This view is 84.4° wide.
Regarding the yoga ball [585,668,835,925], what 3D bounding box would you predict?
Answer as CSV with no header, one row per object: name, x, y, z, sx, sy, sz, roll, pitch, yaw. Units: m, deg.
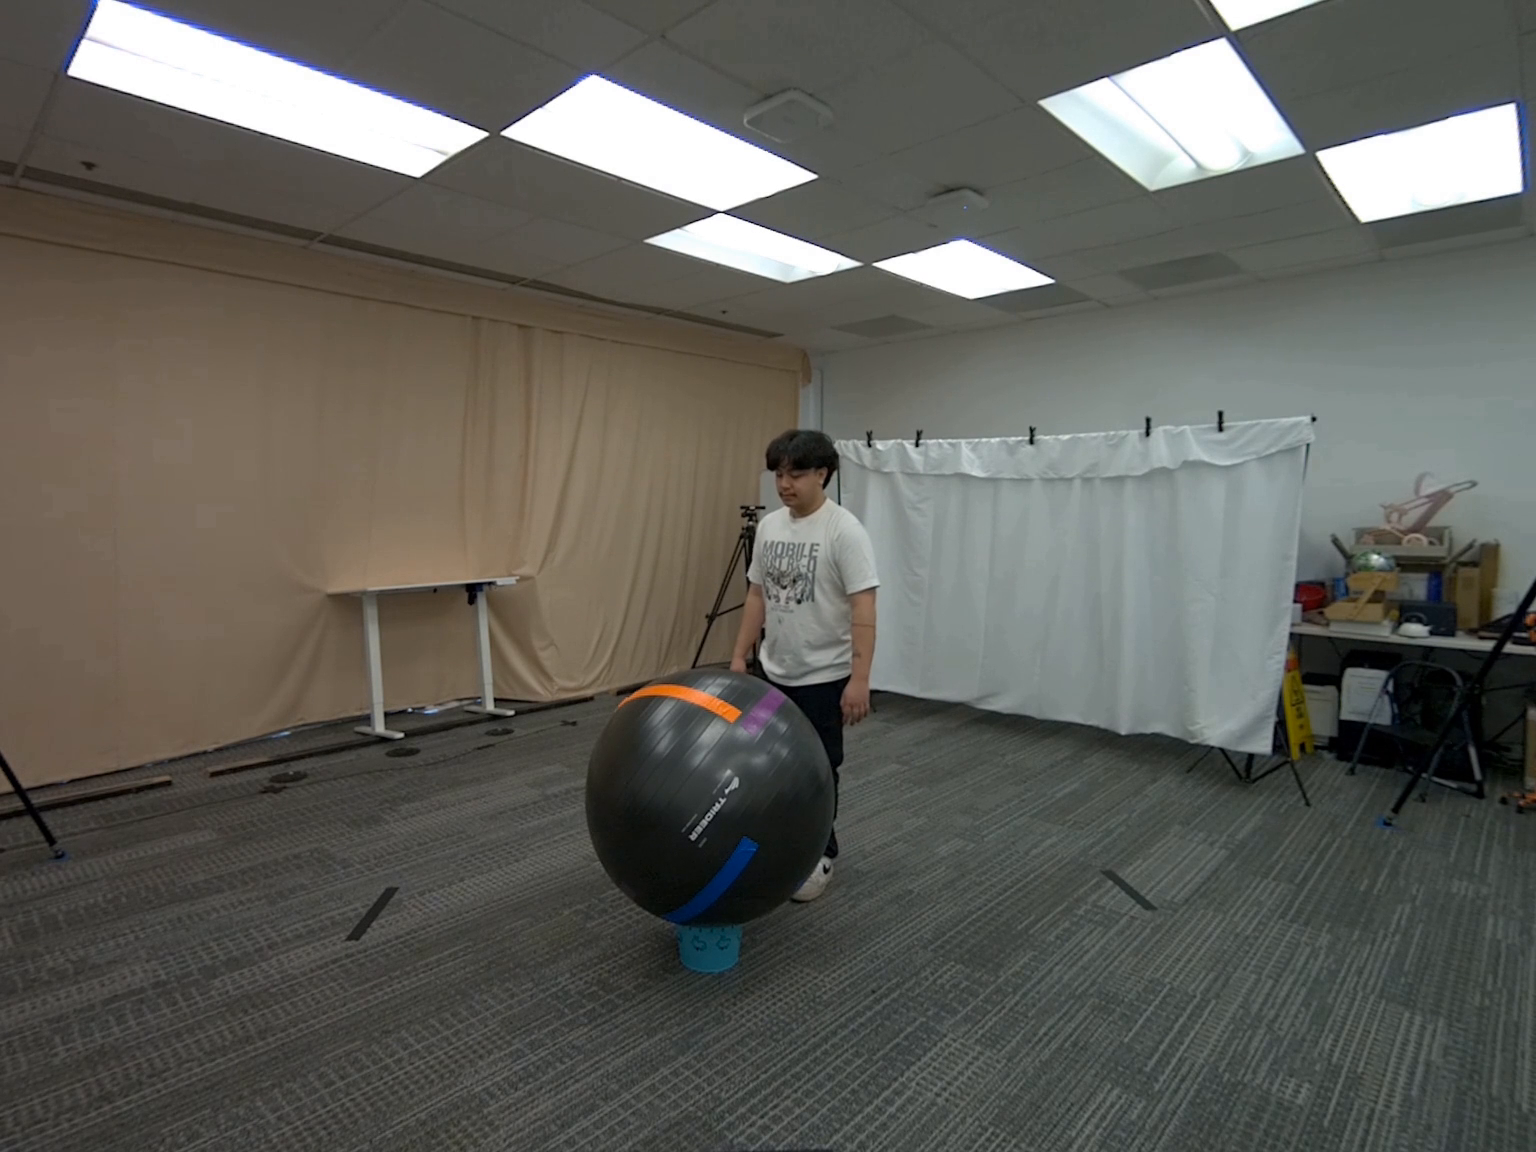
yoga ball,-0.180,0.666,2.580,0.757,0.756,0.760,0,4,-2
